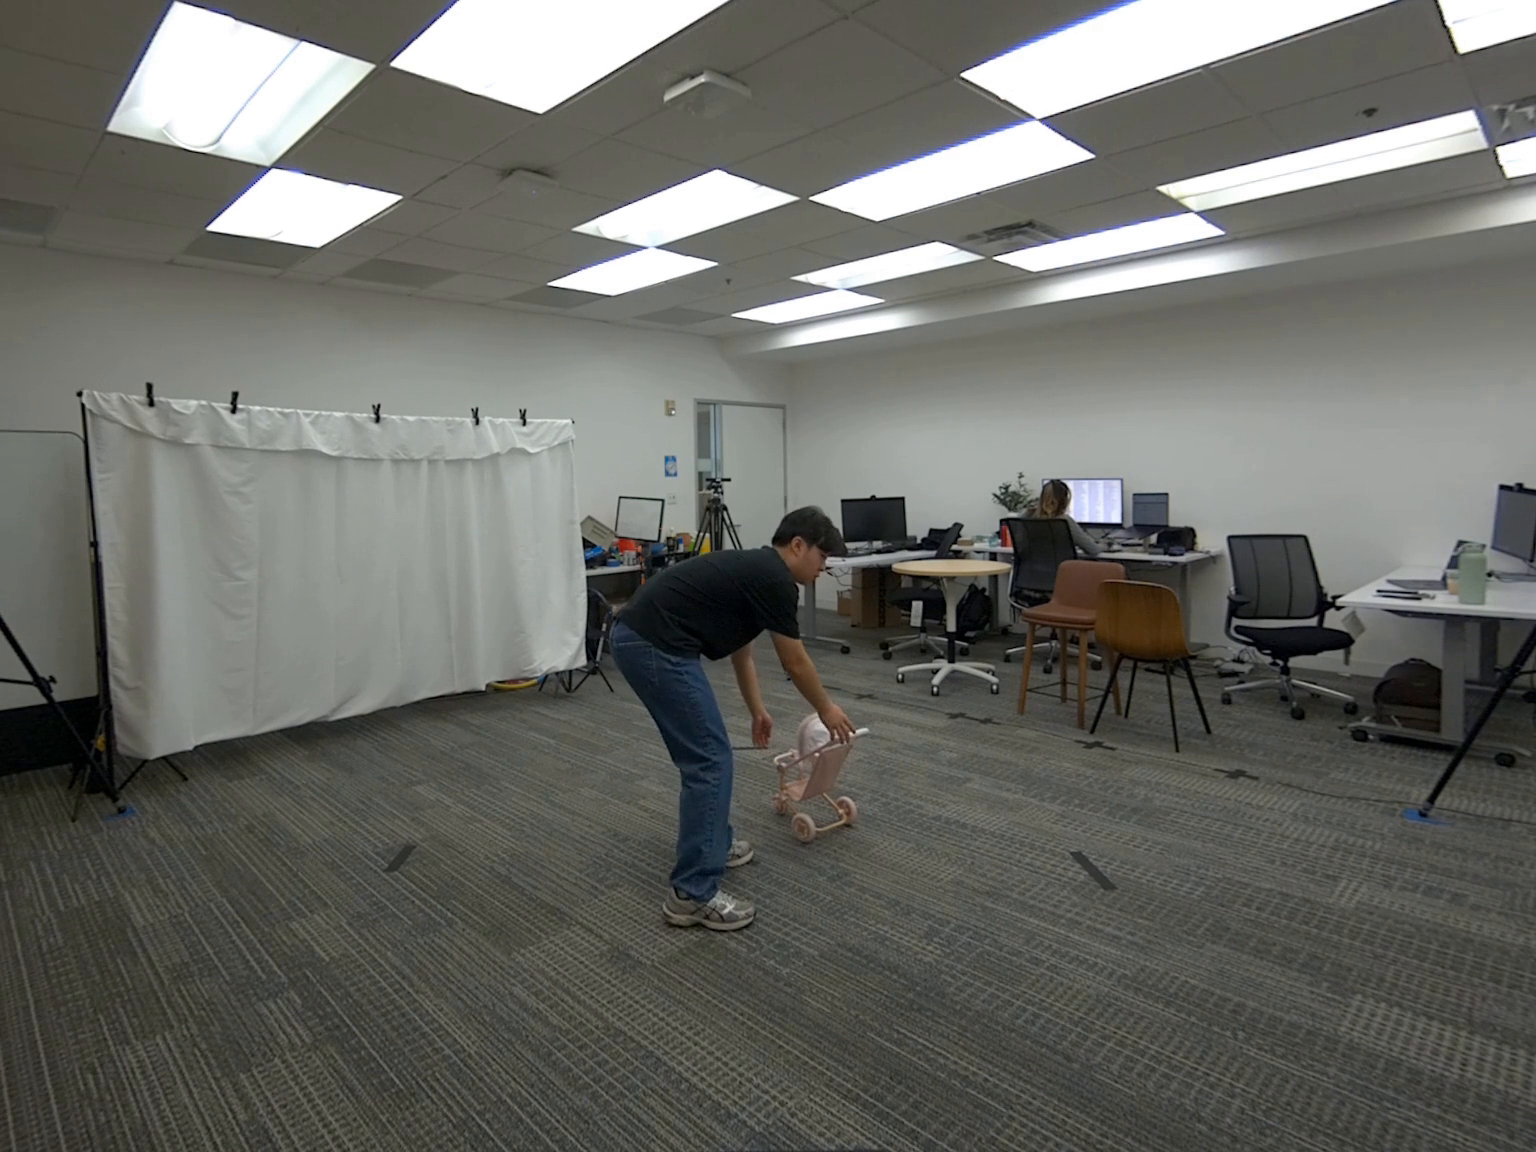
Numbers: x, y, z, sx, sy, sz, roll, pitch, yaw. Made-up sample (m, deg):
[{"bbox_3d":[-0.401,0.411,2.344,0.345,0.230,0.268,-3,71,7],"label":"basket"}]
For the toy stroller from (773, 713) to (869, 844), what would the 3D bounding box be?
[{"bbox_3d":[0.185,0.779,3.397,0.274,0.529,0.354,-4,21,-38],"label":"toy stroller"}]
